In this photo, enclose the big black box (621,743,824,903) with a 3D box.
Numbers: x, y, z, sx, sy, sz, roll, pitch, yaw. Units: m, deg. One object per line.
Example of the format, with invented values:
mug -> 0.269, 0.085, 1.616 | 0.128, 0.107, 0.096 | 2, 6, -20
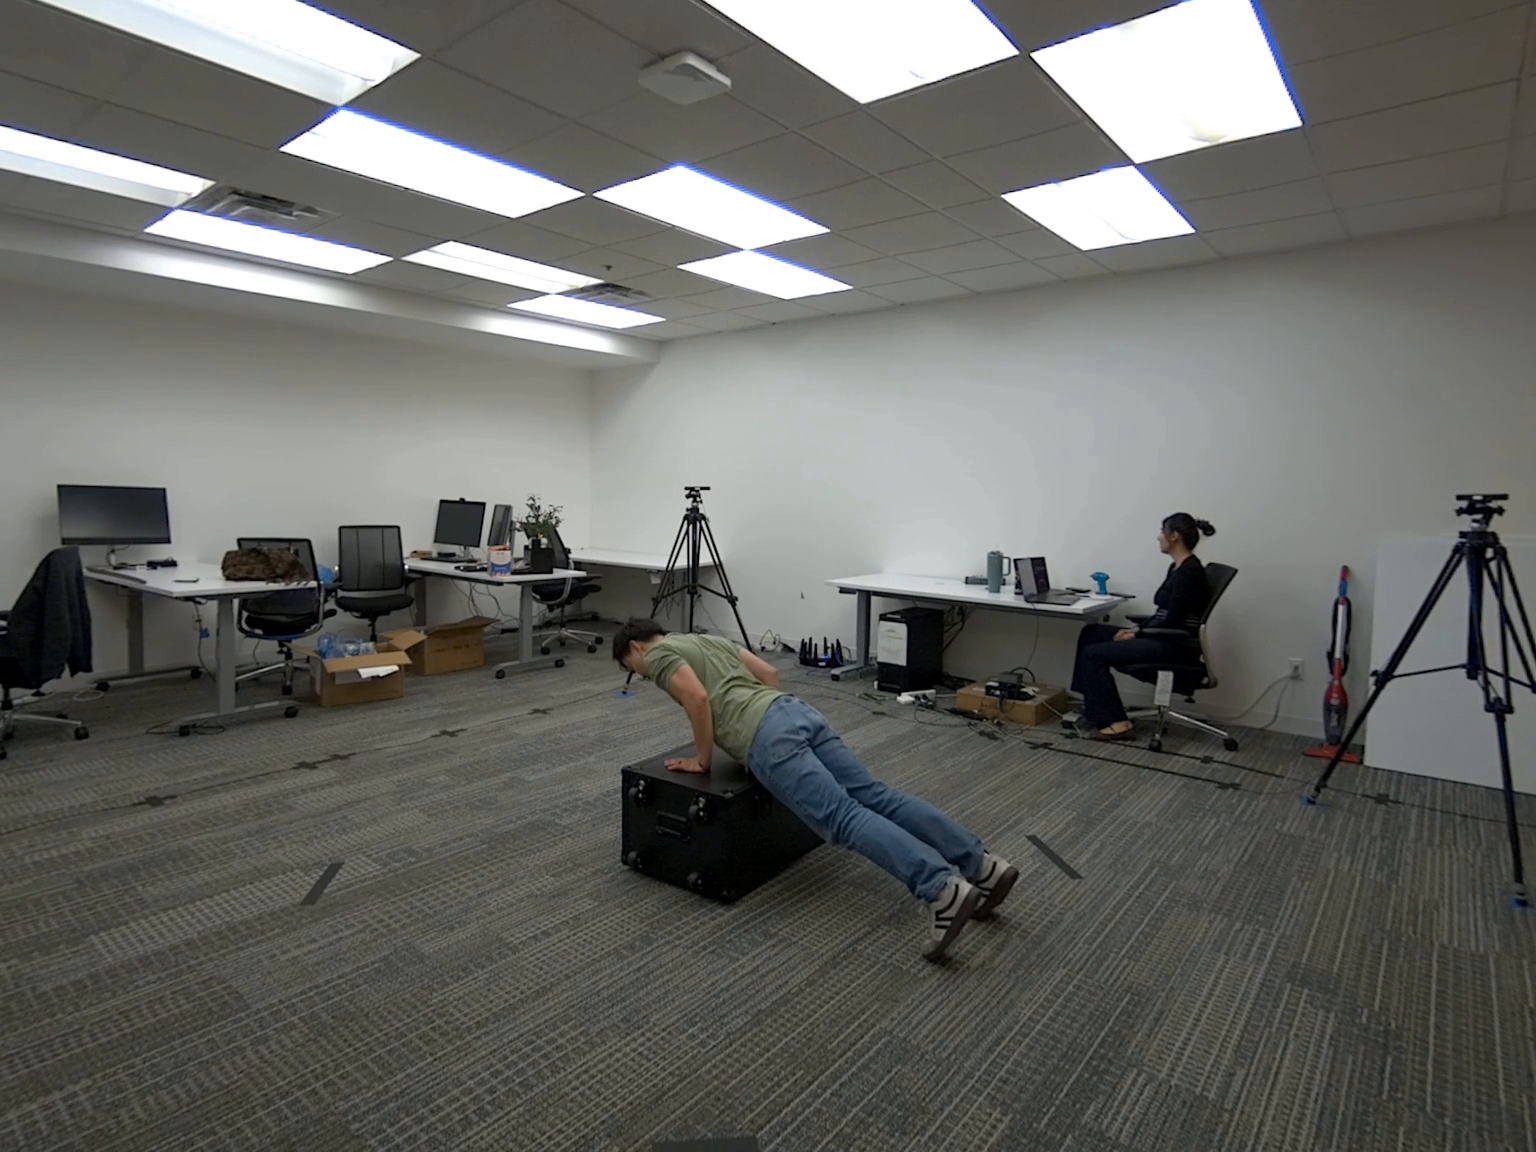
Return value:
big black box -> -0.154, 0.870, 3.223 | 0.538, 0.395, 0.837 | 4, 5, 33
